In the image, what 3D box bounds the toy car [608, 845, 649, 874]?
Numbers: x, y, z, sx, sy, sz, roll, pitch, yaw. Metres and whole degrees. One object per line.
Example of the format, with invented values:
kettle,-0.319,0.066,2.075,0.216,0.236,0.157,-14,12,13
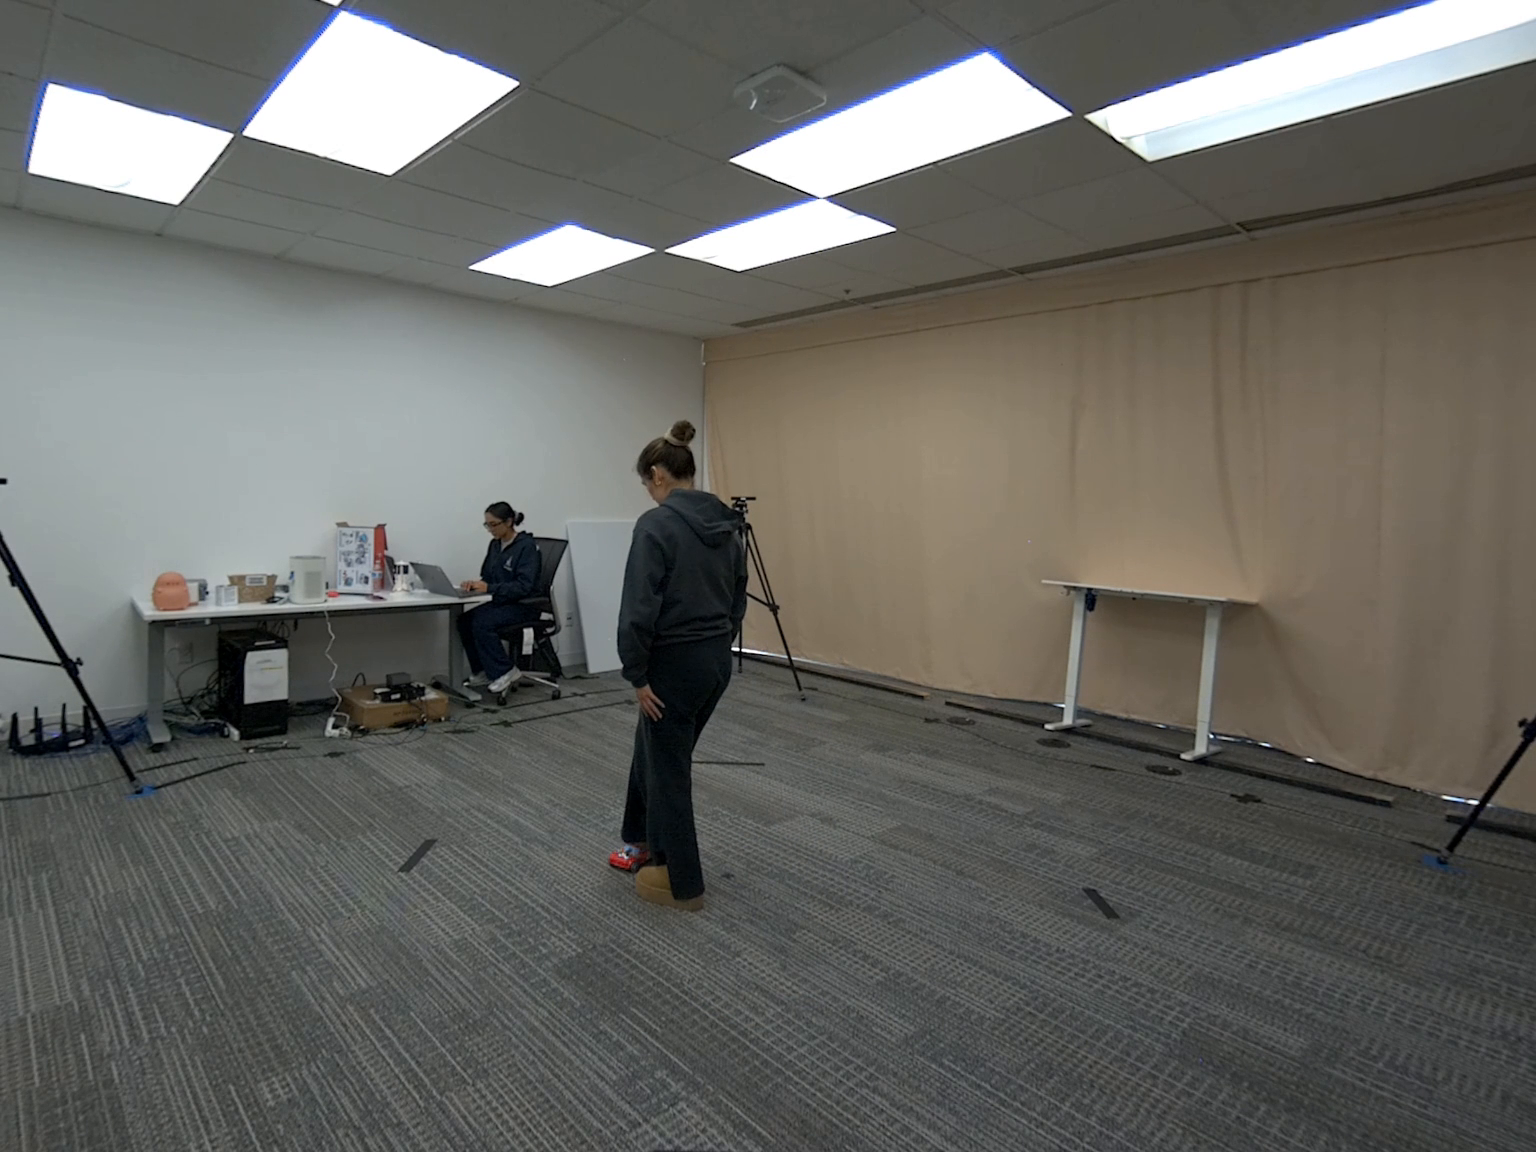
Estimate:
toy car,-0.502,1.059,3.229,0.133,0.082,0.251,4,16,31
